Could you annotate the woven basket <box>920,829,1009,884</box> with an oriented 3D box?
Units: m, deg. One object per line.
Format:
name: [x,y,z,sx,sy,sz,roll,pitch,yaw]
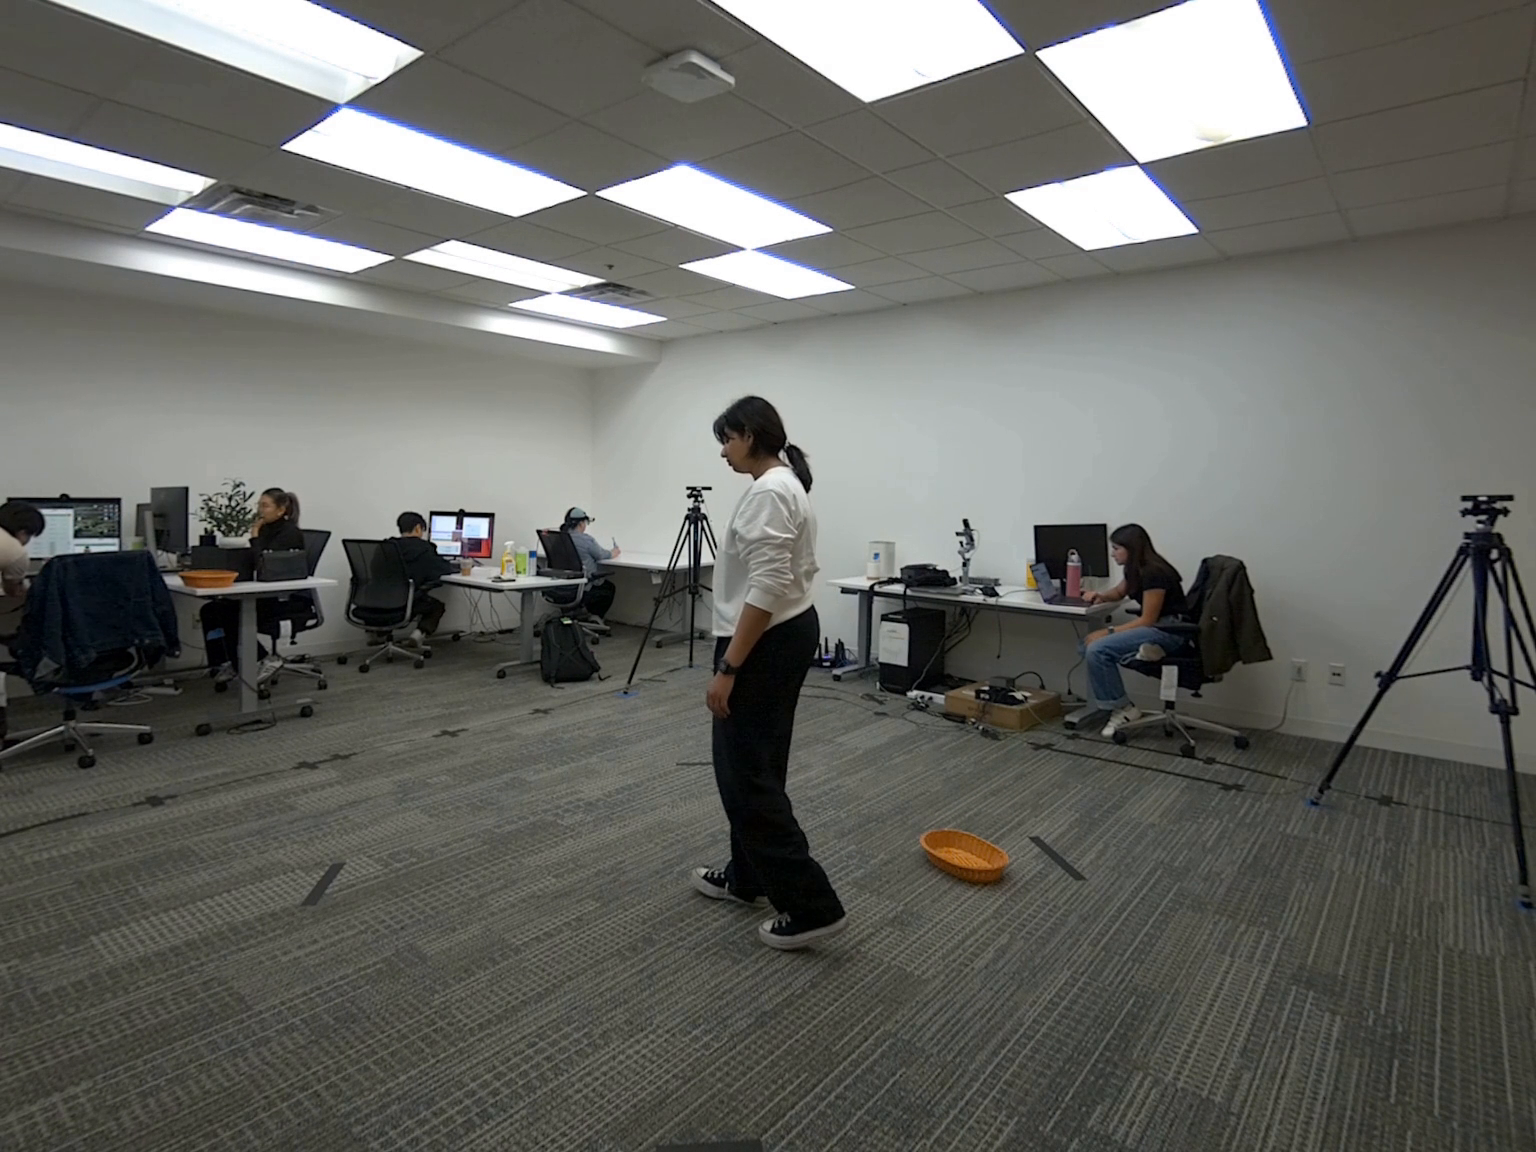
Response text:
woven basket: [0.728,1.048,3.161,0.246,0.073,0.361,-4,8,-31]
